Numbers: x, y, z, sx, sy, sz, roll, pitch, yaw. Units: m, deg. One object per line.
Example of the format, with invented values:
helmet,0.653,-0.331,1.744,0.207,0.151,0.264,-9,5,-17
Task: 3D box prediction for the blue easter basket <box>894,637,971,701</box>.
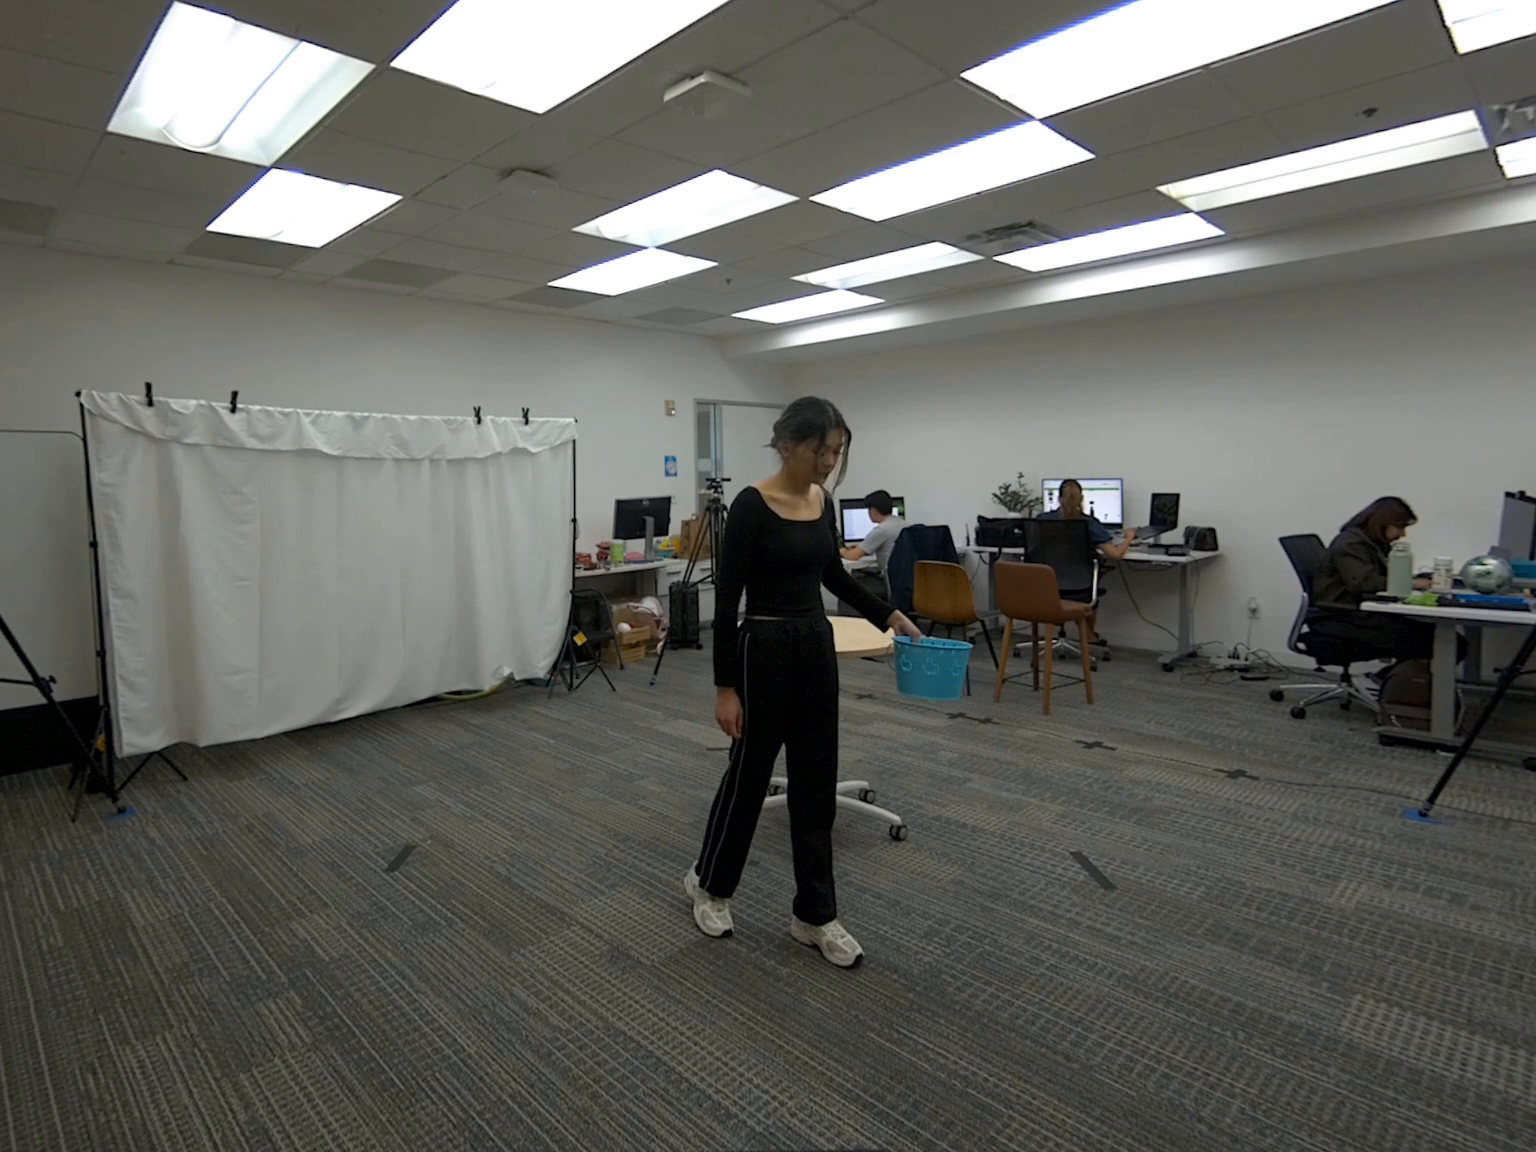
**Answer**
blue easter basket,0.472,0.265,2.472,0.243,0.156,0.244,4,1,-2
